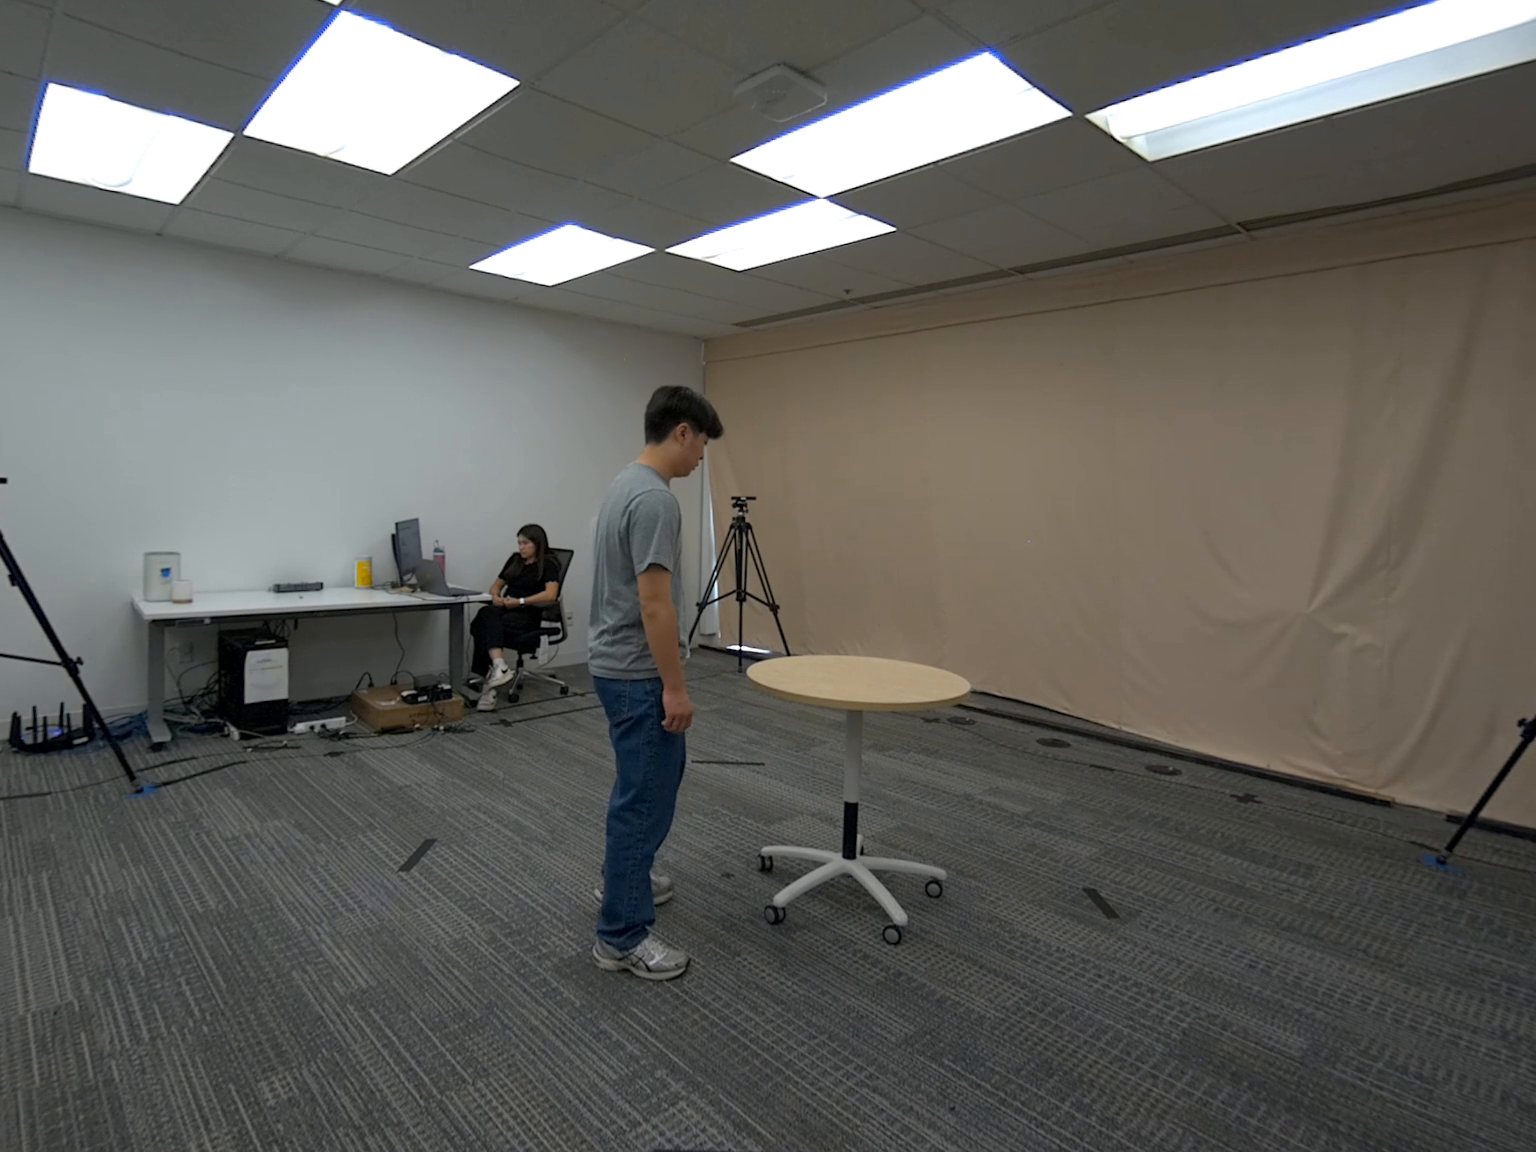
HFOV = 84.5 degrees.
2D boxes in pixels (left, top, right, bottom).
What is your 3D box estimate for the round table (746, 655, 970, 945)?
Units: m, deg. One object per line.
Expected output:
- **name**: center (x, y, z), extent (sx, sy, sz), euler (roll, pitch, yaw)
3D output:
- **round table**: center (0.289, 0.741, 2.944), extent (0.763, 0.792, 0.766), euler (2, 4, -1)
